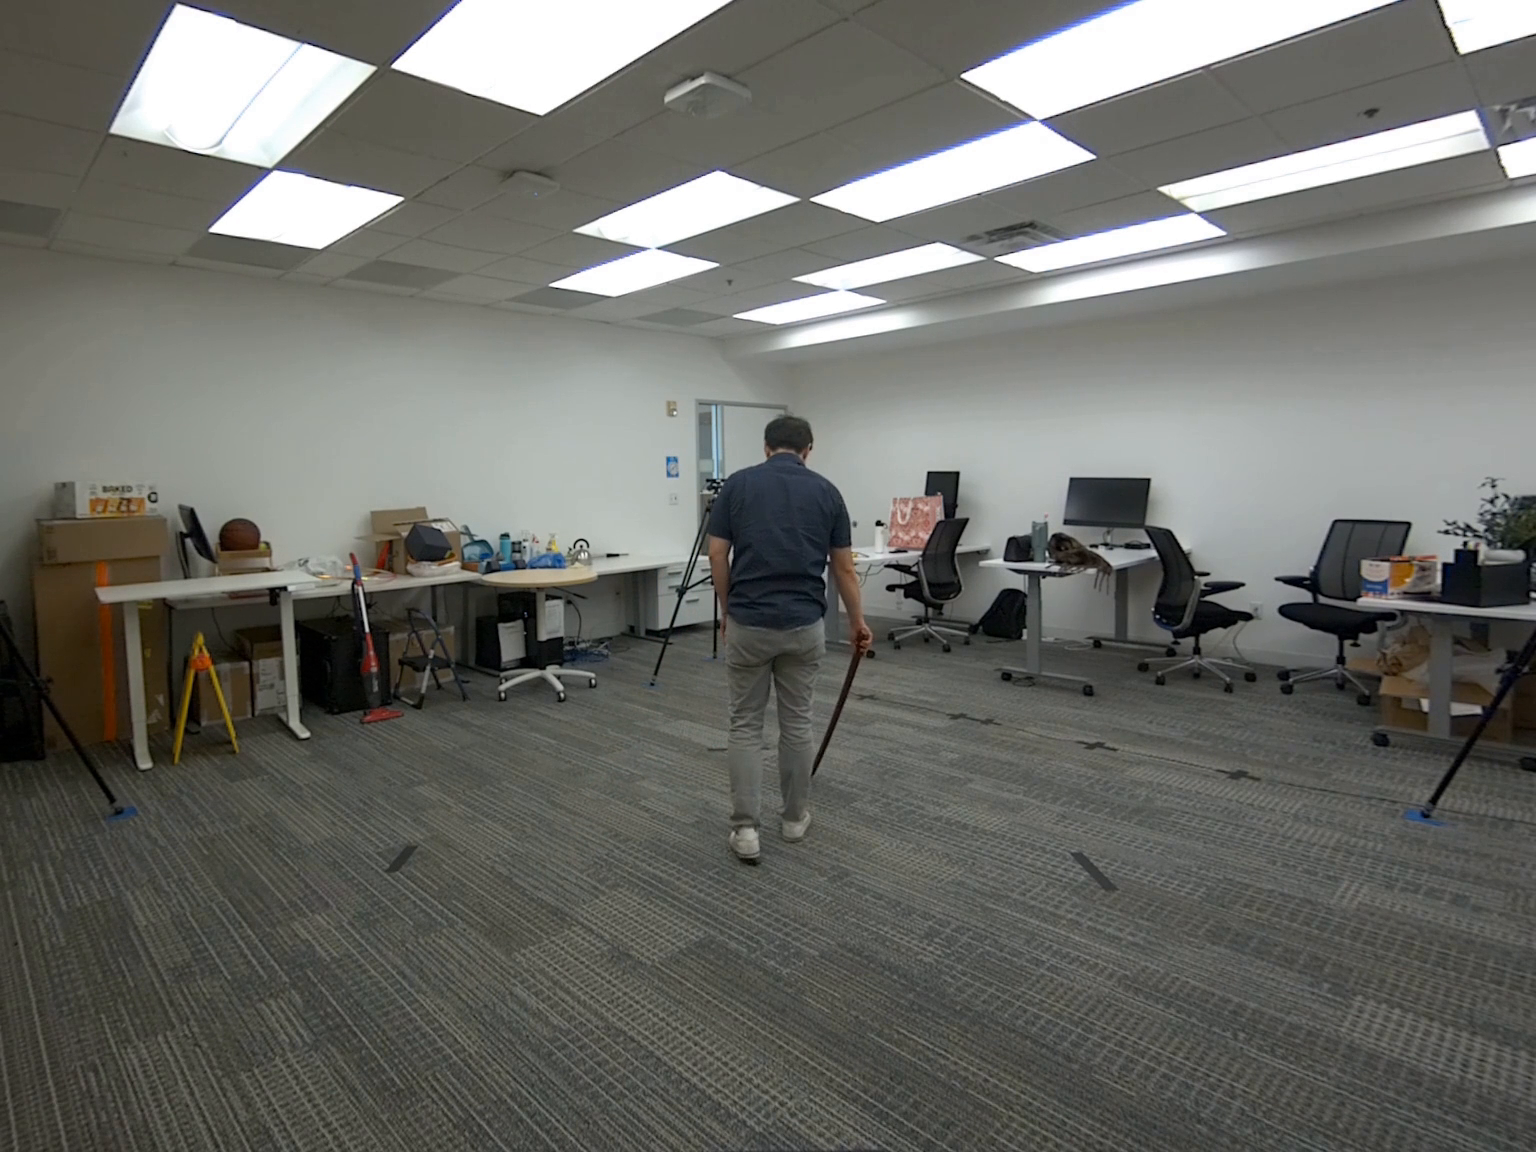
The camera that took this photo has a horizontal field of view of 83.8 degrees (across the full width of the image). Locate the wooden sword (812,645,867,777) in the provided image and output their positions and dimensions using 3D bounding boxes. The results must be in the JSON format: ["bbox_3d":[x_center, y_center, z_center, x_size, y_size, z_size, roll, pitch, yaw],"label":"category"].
[{"bbox_3d":[0.297,0.589,3.672,0.050,1.005,0.025,-14,51,-29],"label":"wooden sword"}]
